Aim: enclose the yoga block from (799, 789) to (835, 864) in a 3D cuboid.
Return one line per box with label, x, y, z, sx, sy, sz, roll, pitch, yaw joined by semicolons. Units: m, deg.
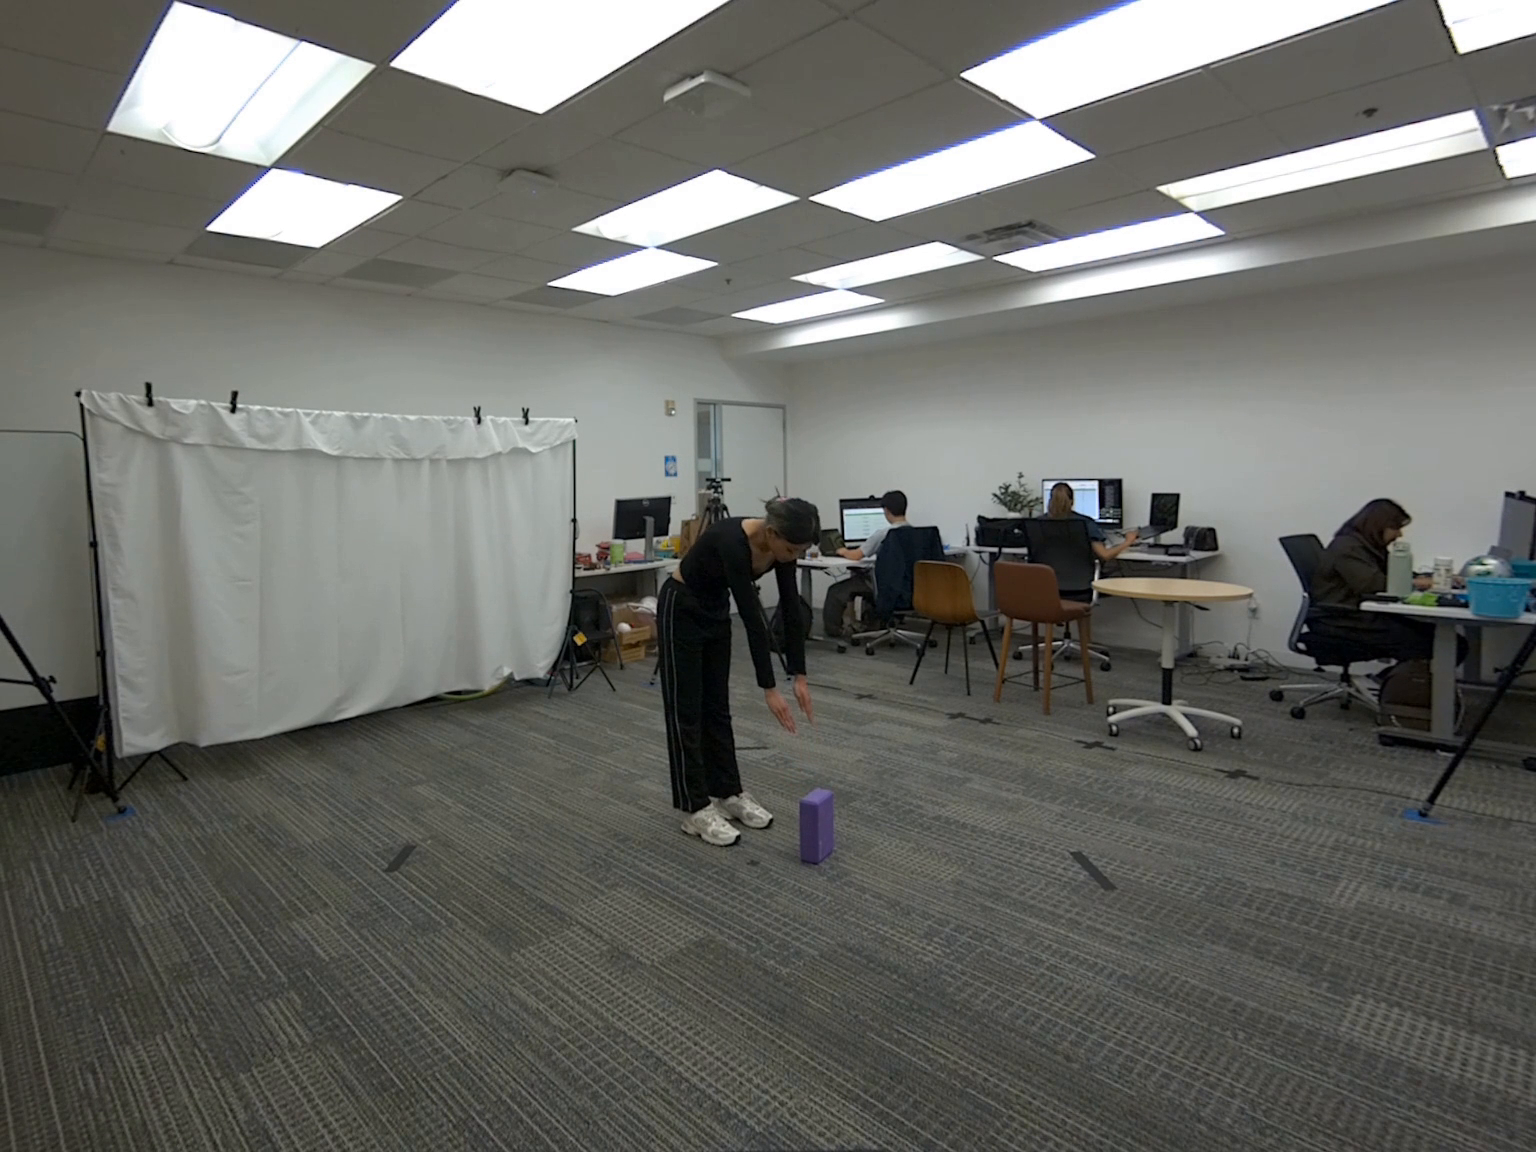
yoga block;0.183;0.918;3.148;0.078;0.228;0.146;1;4;29
